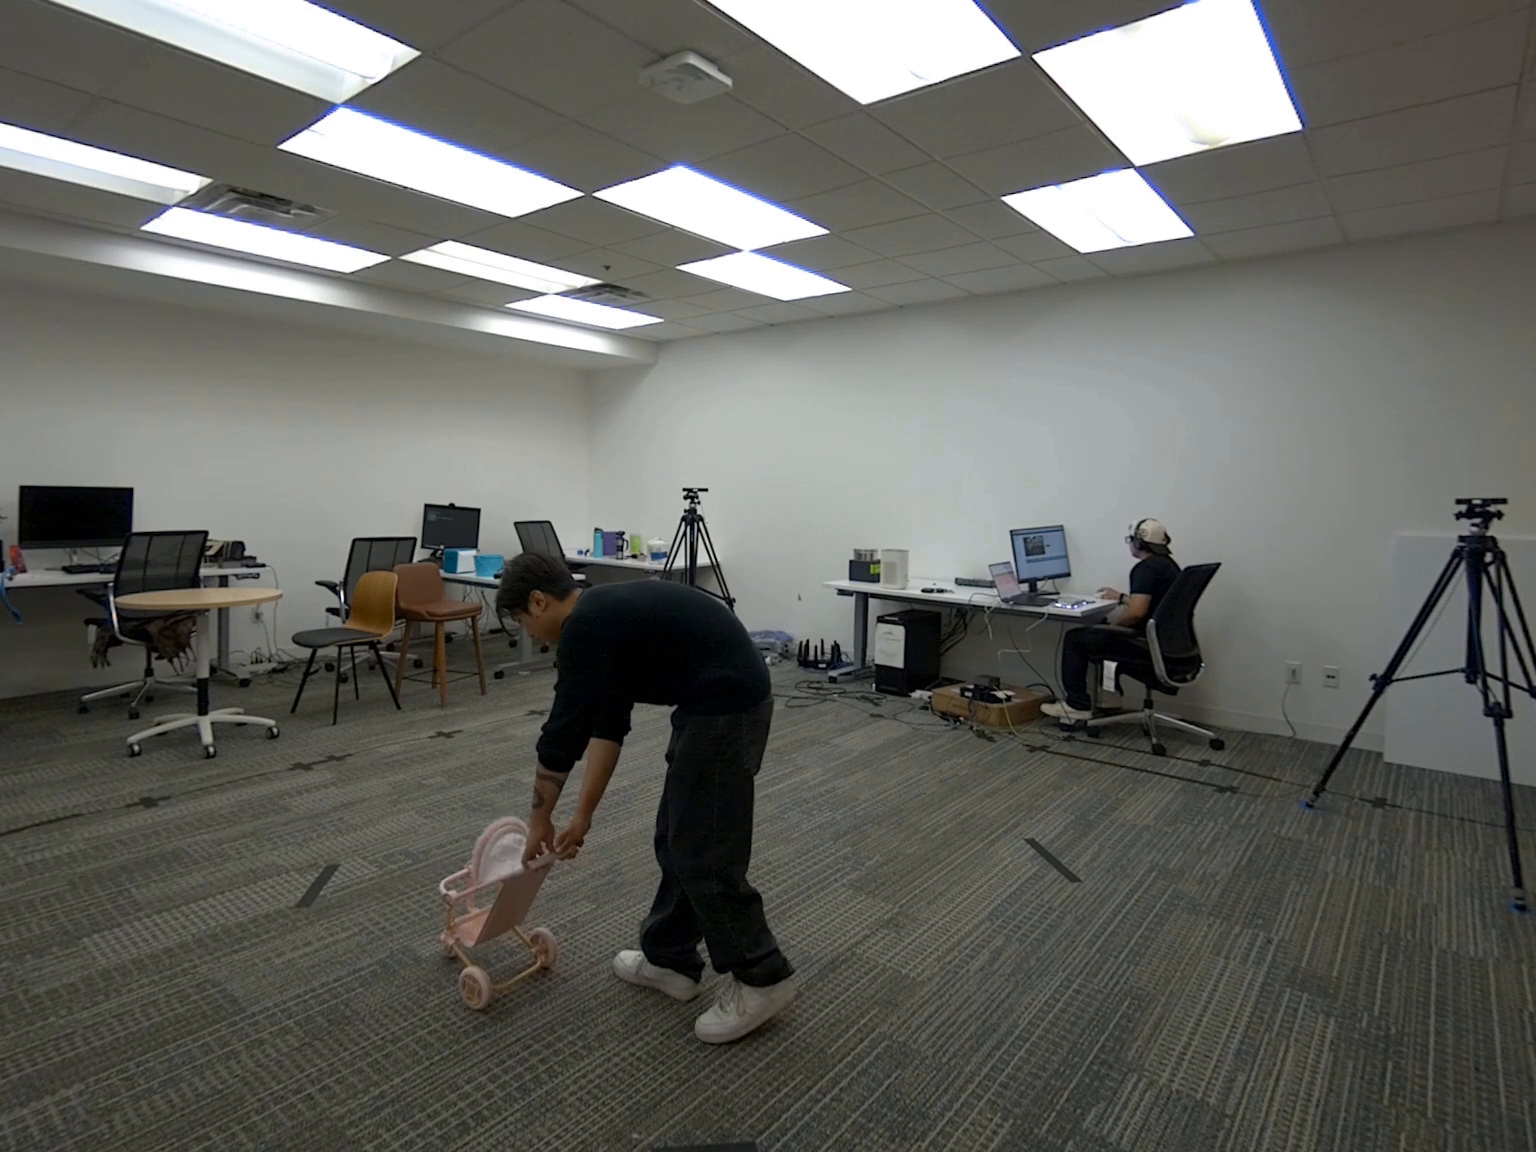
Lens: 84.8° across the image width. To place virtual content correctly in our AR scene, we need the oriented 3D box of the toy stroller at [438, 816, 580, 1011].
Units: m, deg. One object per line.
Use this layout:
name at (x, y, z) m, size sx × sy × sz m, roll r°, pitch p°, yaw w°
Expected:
toy stroller at (-0.770, 0.912, 2.389) m, size 0.354 × 0.530 × 0.273 m, roll 24°, pitch 15°, yaw 34°
